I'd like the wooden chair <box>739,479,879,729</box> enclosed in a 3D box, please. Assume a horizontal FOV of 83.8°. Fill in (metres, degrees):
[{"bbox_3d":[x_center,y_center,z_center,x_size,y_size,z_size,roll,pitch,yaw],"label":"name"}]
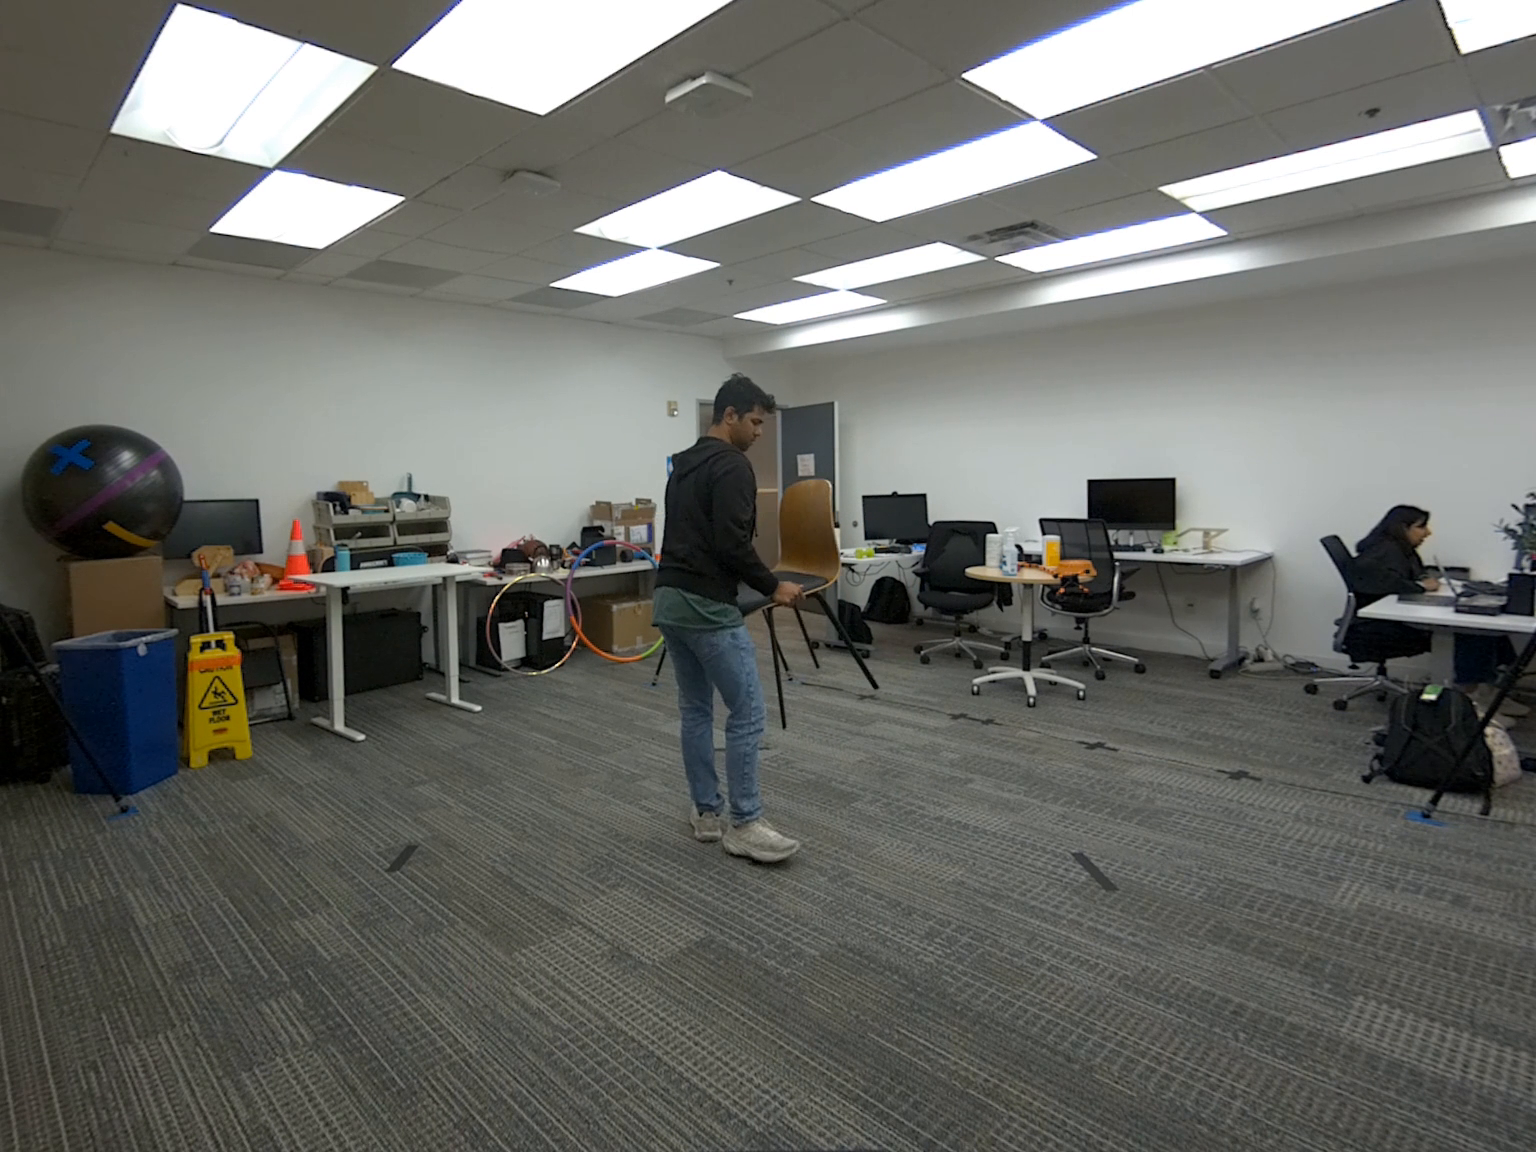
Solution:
[{"bbox_3d":[0.038,0.092,3.422,0.514,0.869,0.491,-13,10,-26],"label":"wooden chair"}]
